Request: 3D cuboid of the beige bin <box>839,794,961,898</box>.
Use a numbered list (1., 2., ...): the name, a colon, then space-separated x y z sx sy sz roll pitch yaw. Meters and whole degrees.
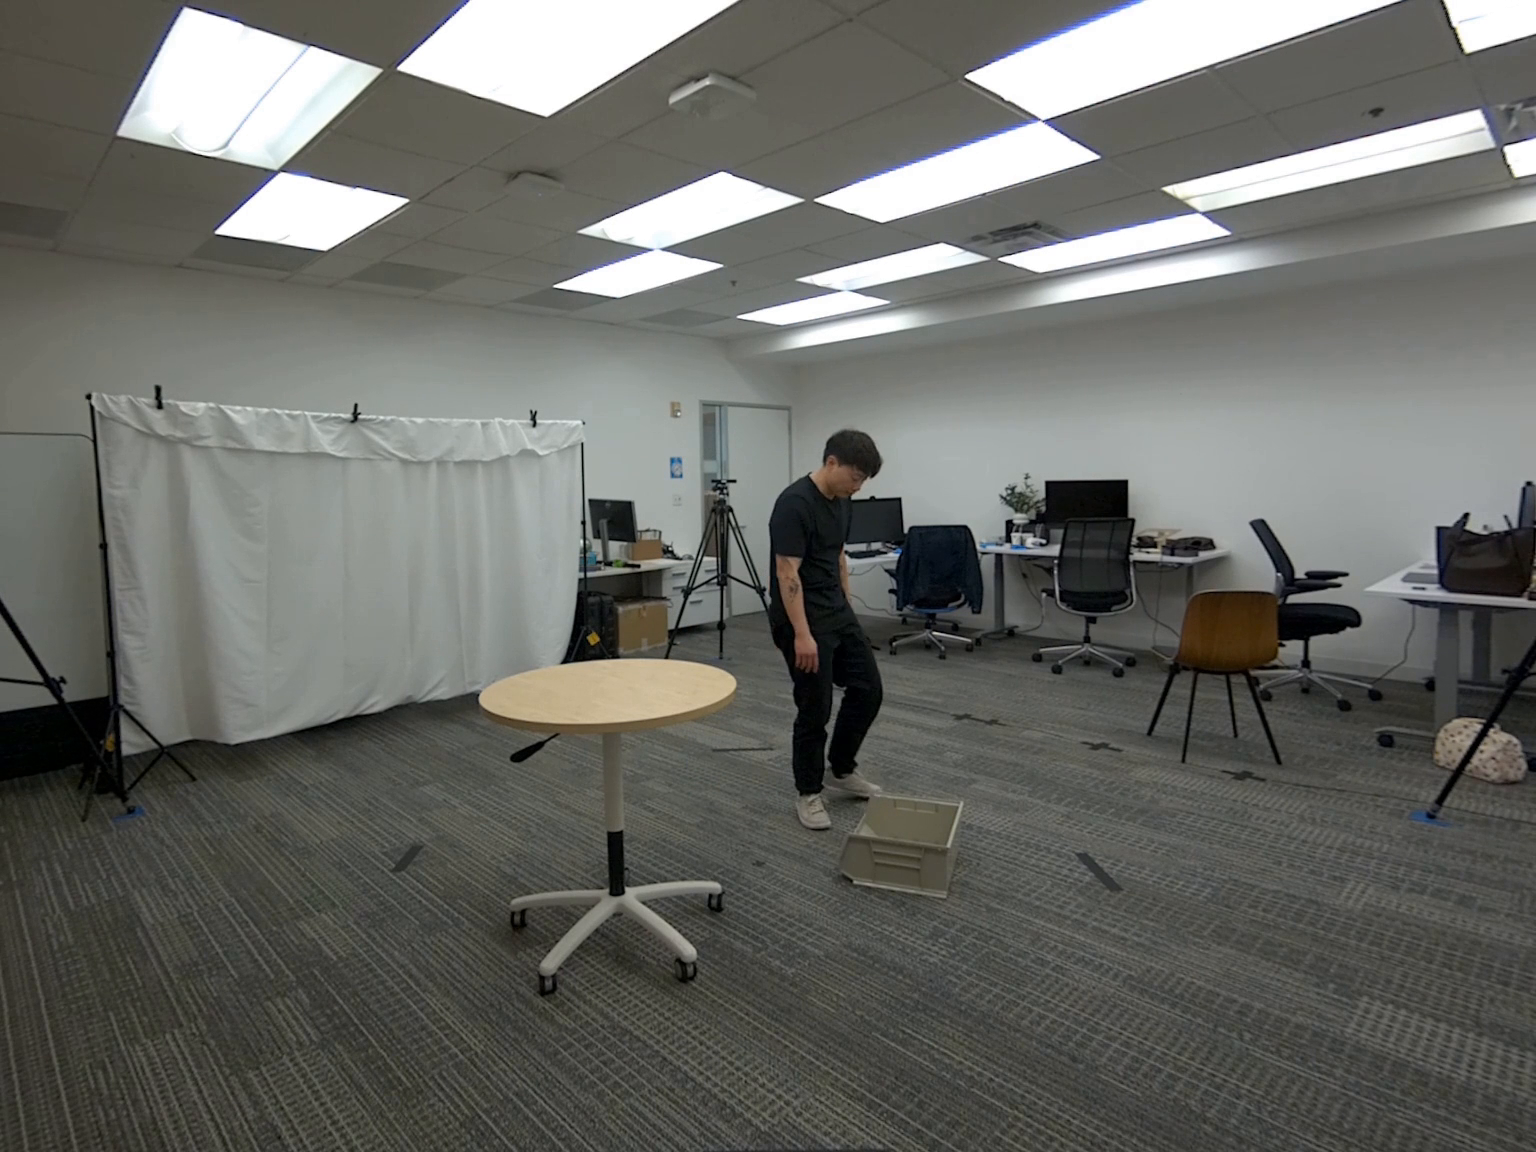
1. beige bin: 0.492 0.954 3.068 0.385 0.188 0.416 2 6 19
